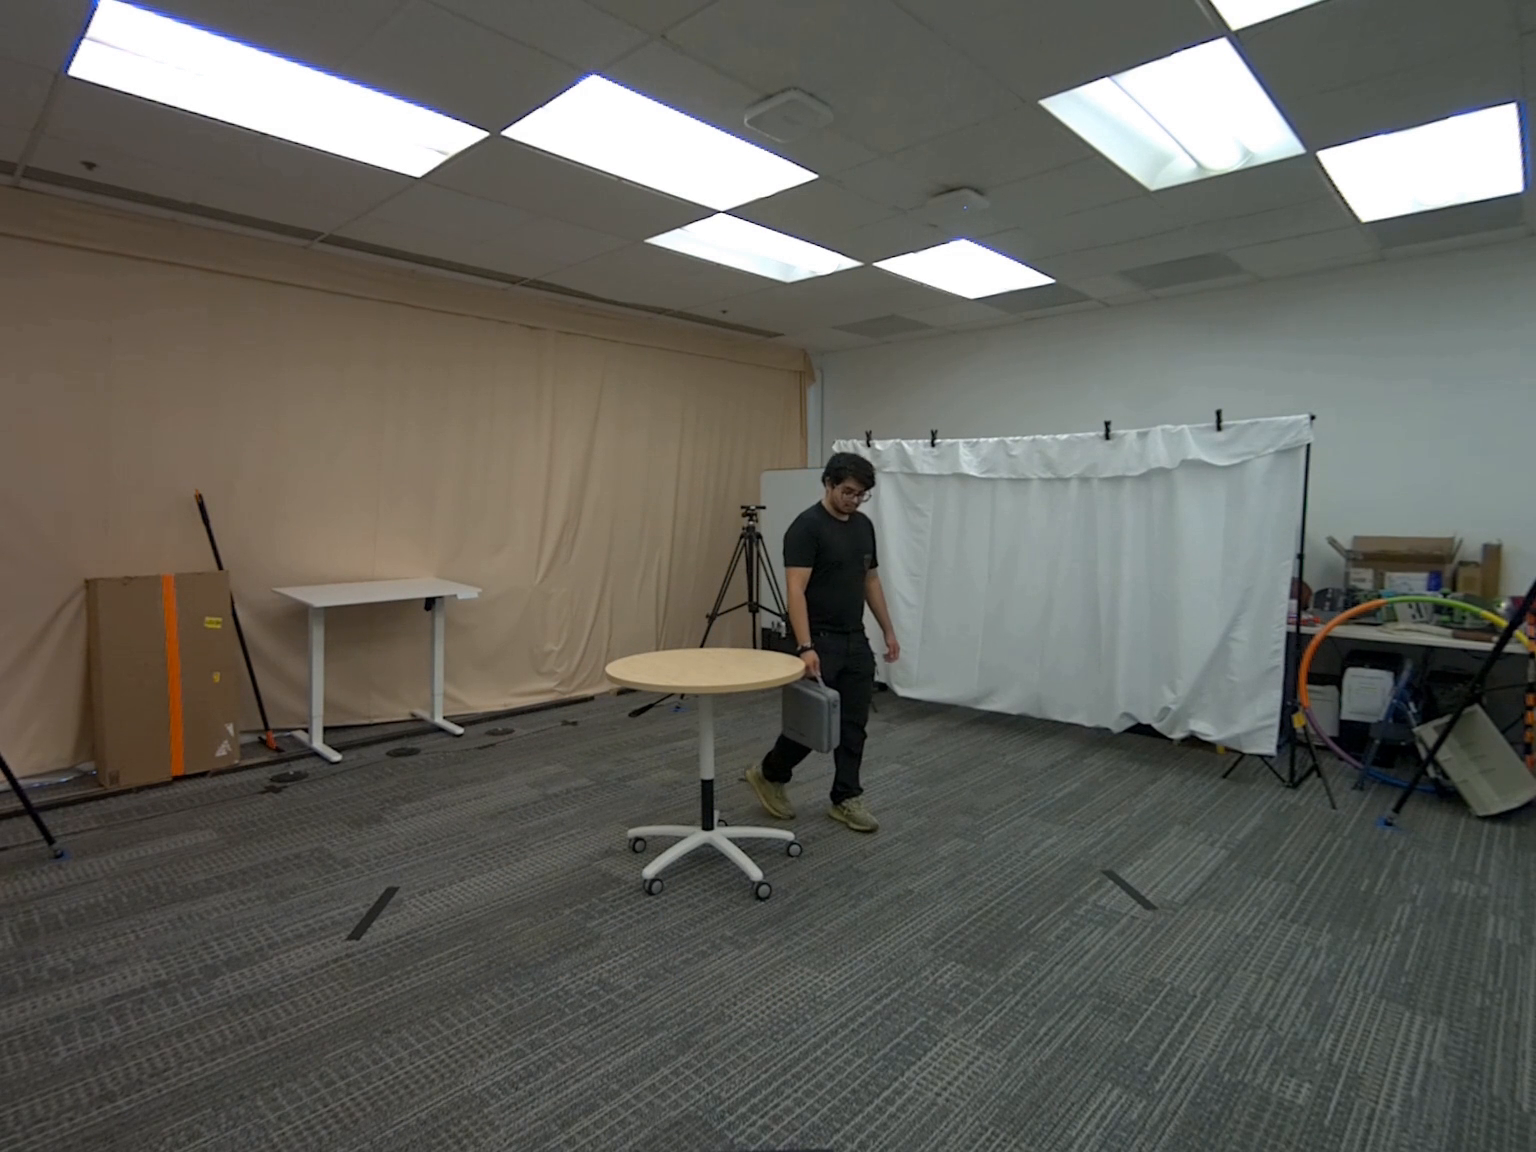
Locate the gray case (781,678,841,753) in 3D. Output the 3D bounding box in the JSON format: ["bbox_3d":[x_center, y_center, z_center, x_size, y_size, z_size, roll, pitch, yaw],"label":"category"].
[{"bbox_3d":[0.168,0.555,3.416,0.101,0.258,0.266,-9,15,-35],"label":"gray case"}]
